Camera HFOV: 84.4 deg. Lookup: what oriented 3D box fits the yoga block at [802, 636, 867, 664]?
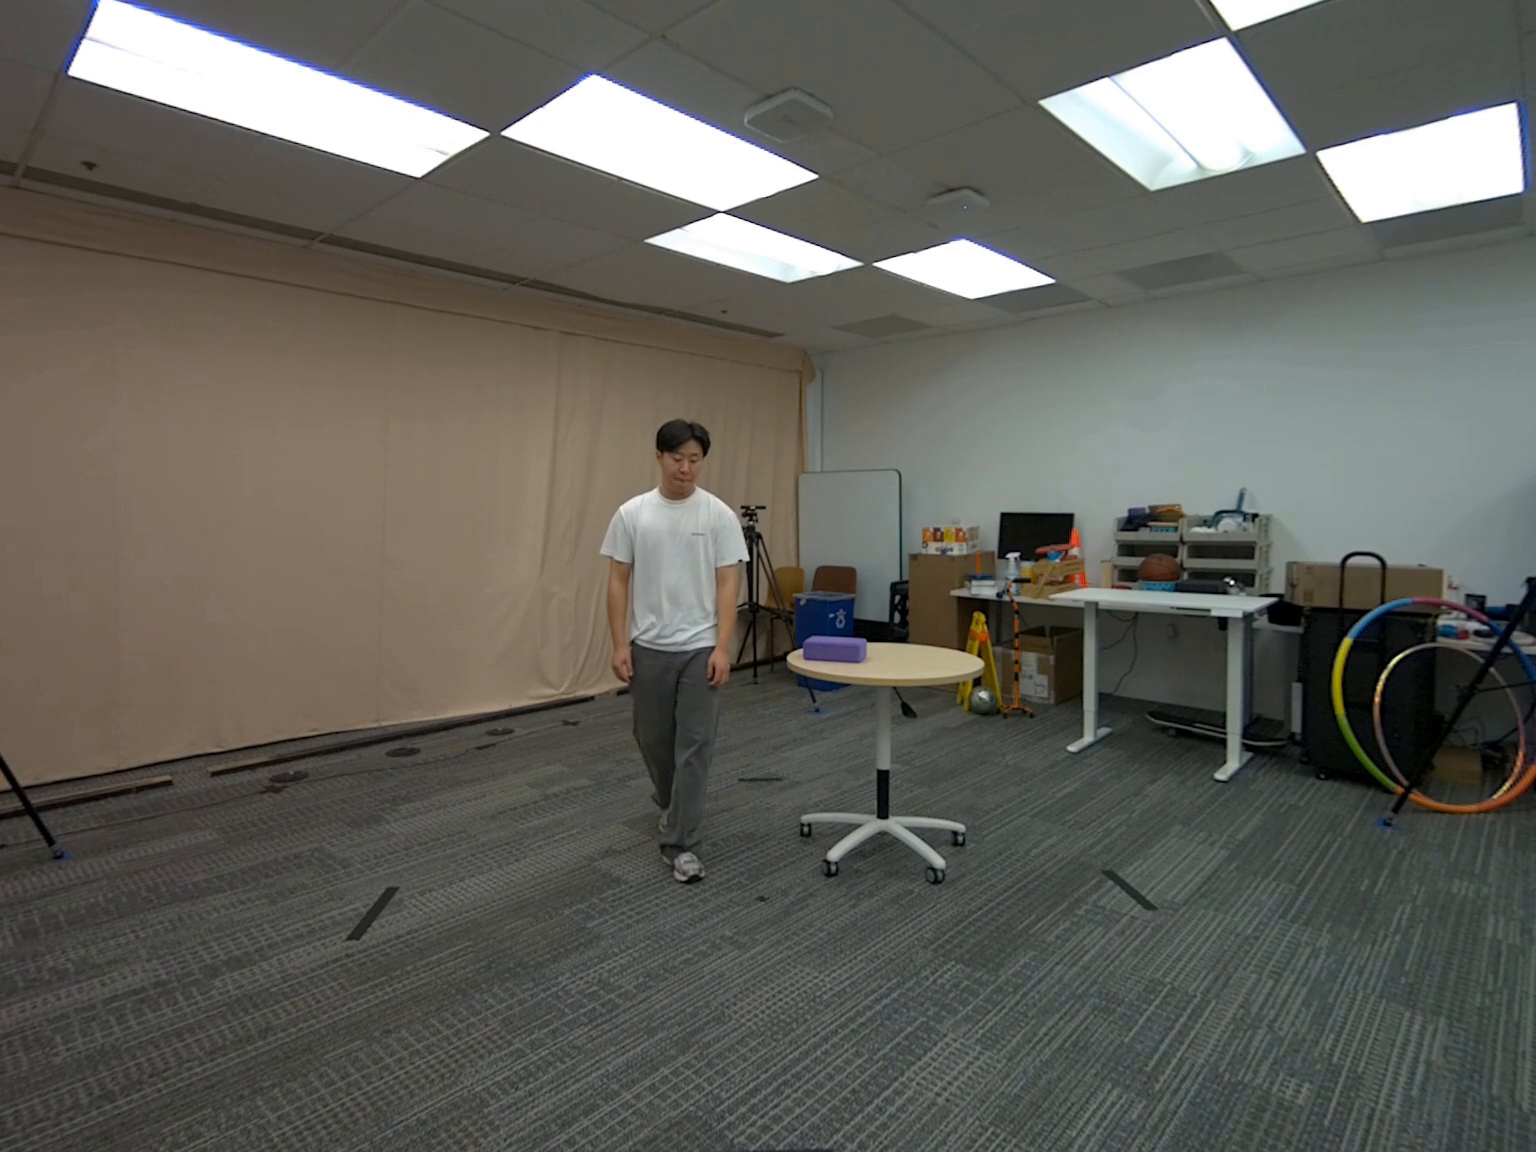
[{"bbox_3d":[0.283,0.293,3.351,0.234,0.076,0.146,2,5,18],"label":"yoga block"}]
